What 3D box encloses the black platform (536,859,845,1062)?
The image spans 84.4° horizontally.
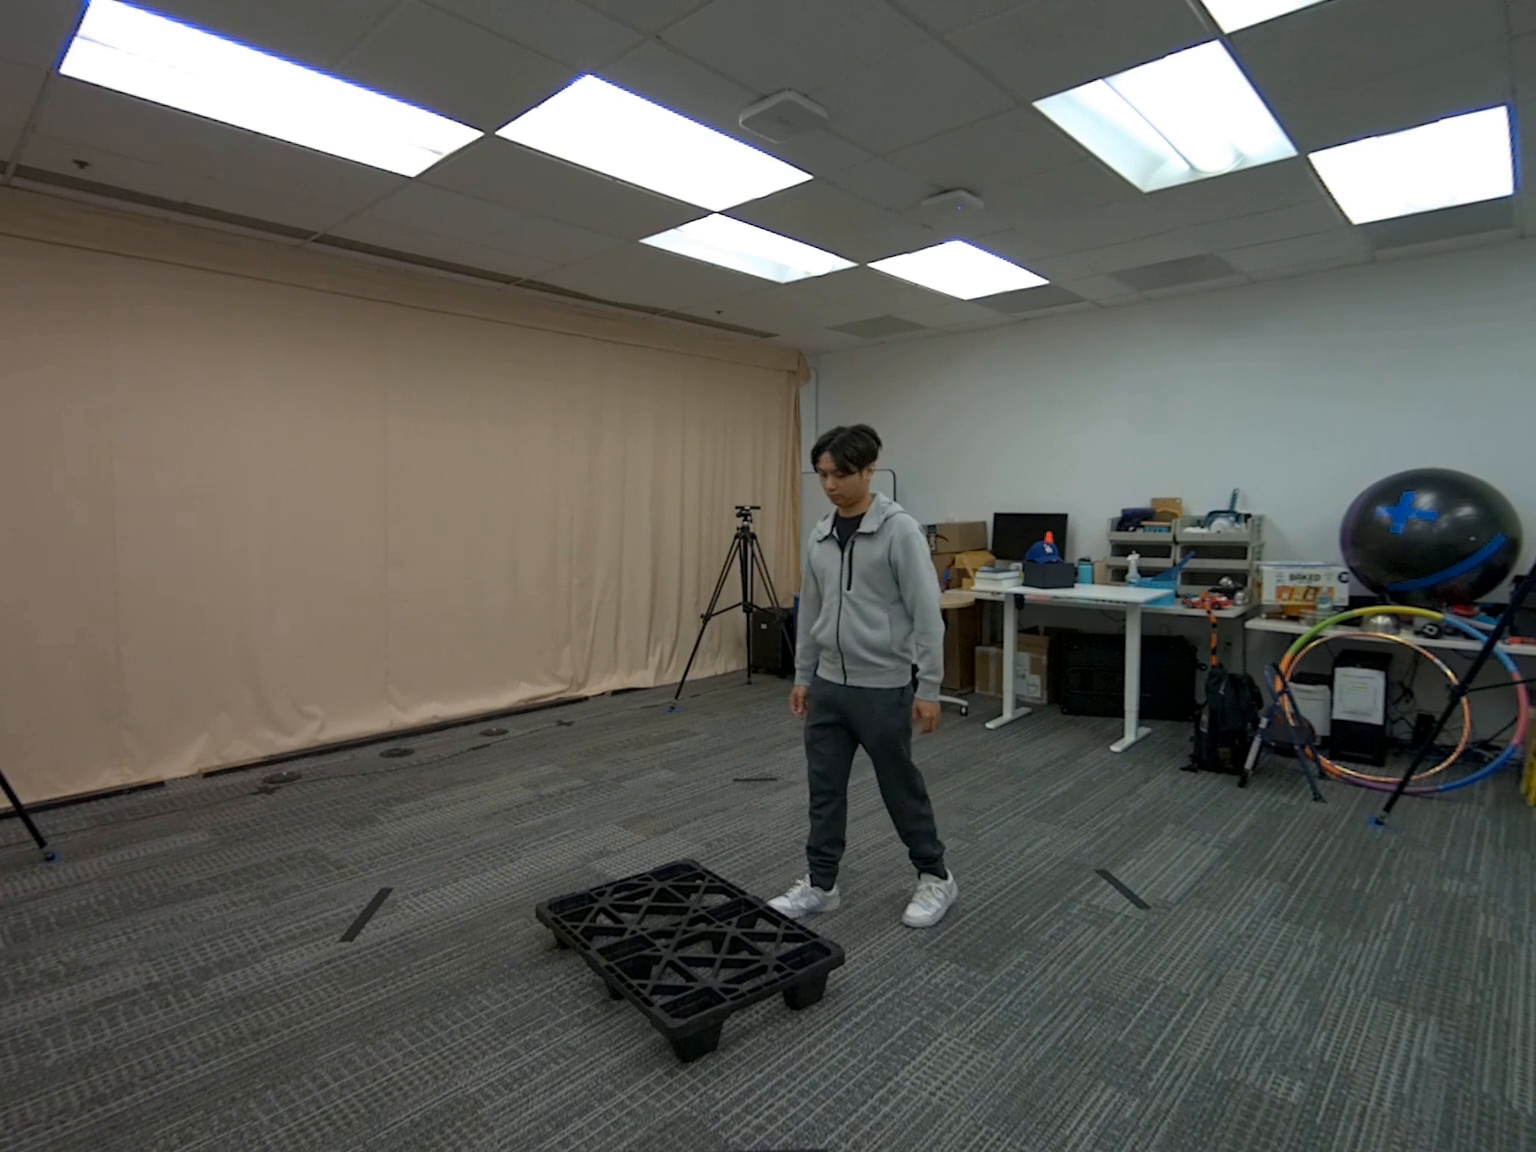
[{"bbox_3d":[-0.259,1.119,2.528,0.587,0.143,0.832,-3,6,-38],"label":"black platform"}]
